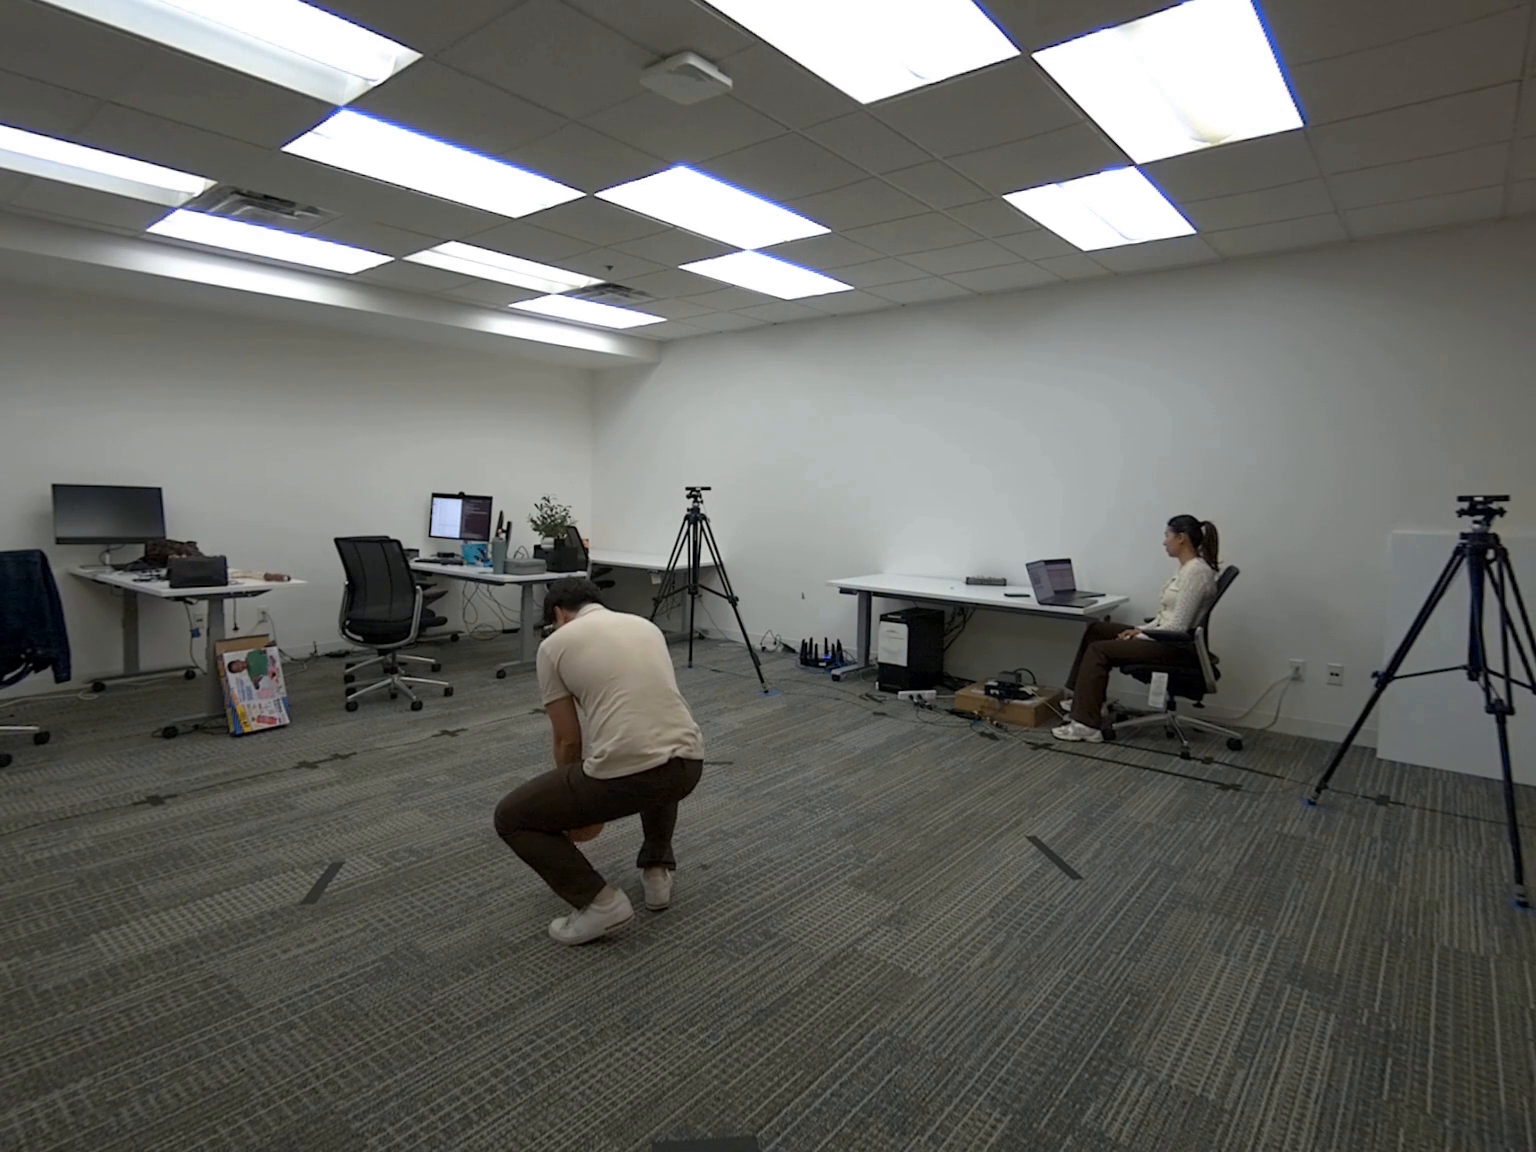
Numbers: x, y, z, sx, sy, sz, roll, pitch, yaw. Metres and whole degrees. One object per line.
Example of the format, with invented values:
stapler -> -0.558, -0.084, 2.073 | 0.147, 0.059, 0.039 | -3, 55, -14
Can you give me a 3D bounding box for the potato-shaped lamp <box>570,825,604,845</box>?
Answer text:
potato-shaped lamp -> -0.639, 0.802, 2.940 | 0.171, 0.196, 0.167 | 11, 15, -2
